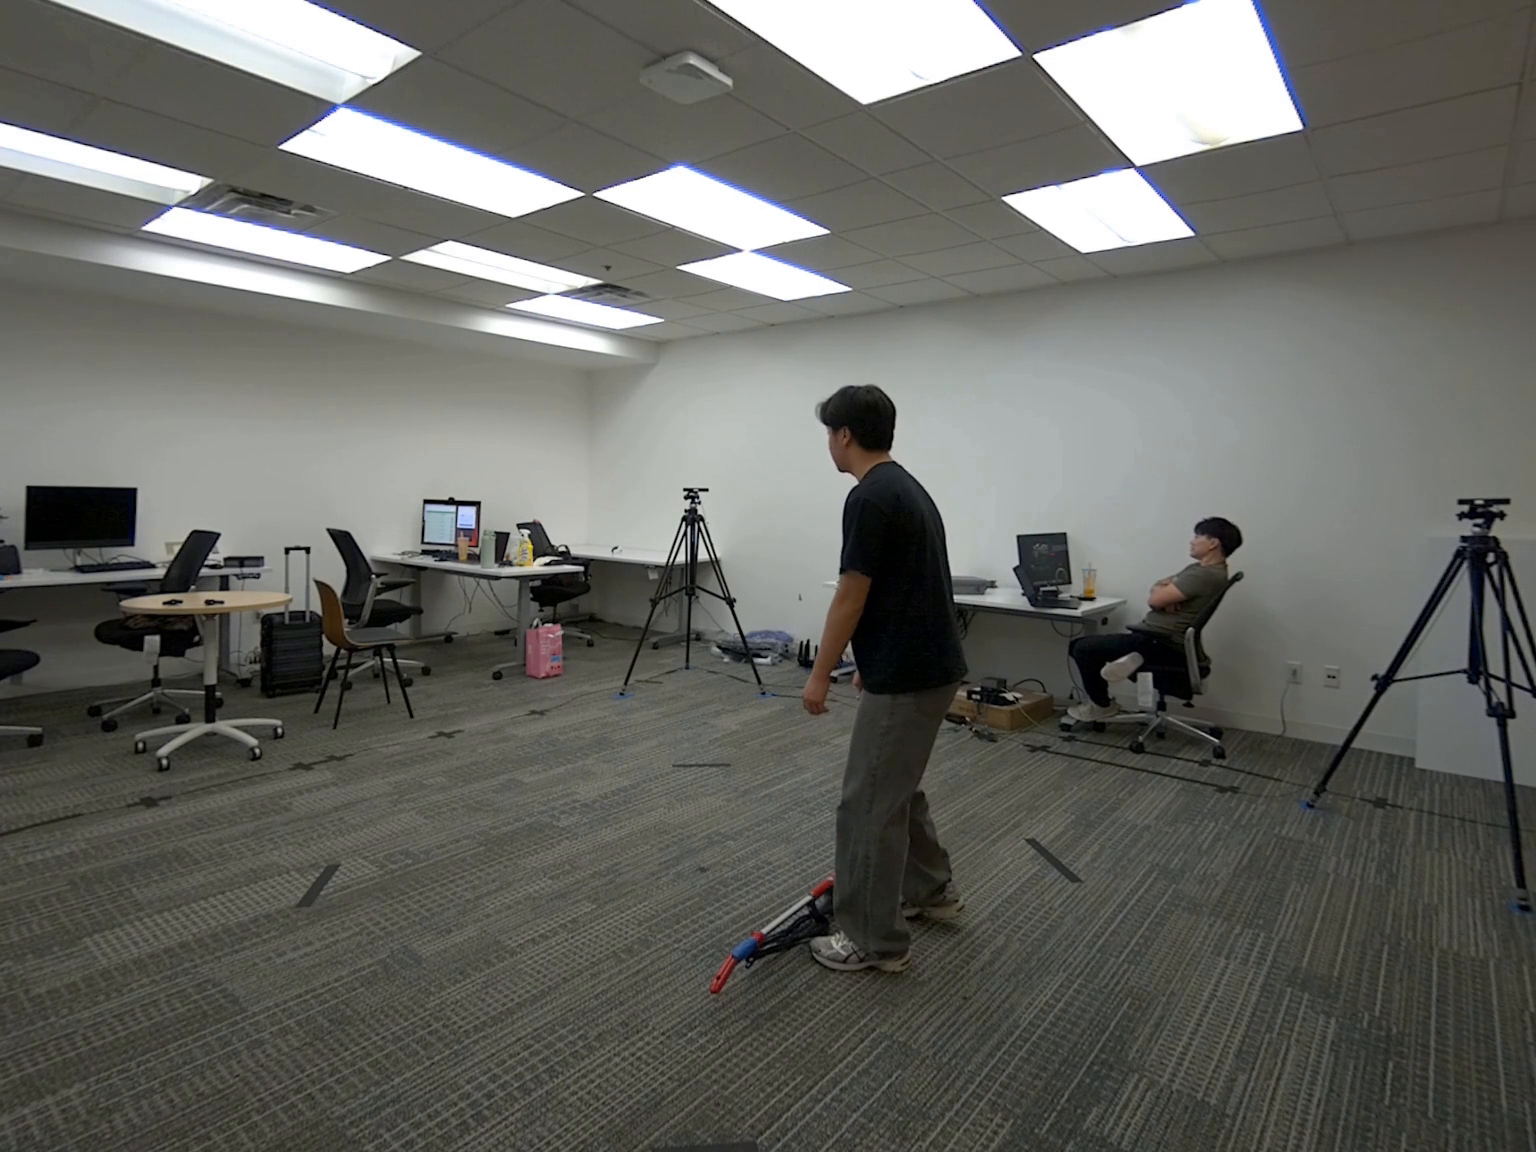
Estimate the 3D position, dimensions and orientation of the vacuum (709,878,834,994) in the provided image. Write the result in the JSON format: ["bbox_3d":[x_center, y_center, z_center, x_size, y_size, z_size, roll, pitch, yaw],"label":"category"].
[{"bbox_3d":[0.121,1.057,2.682,0.261,0.143,1.022,9,9,31],"label":"vacuum"}]
